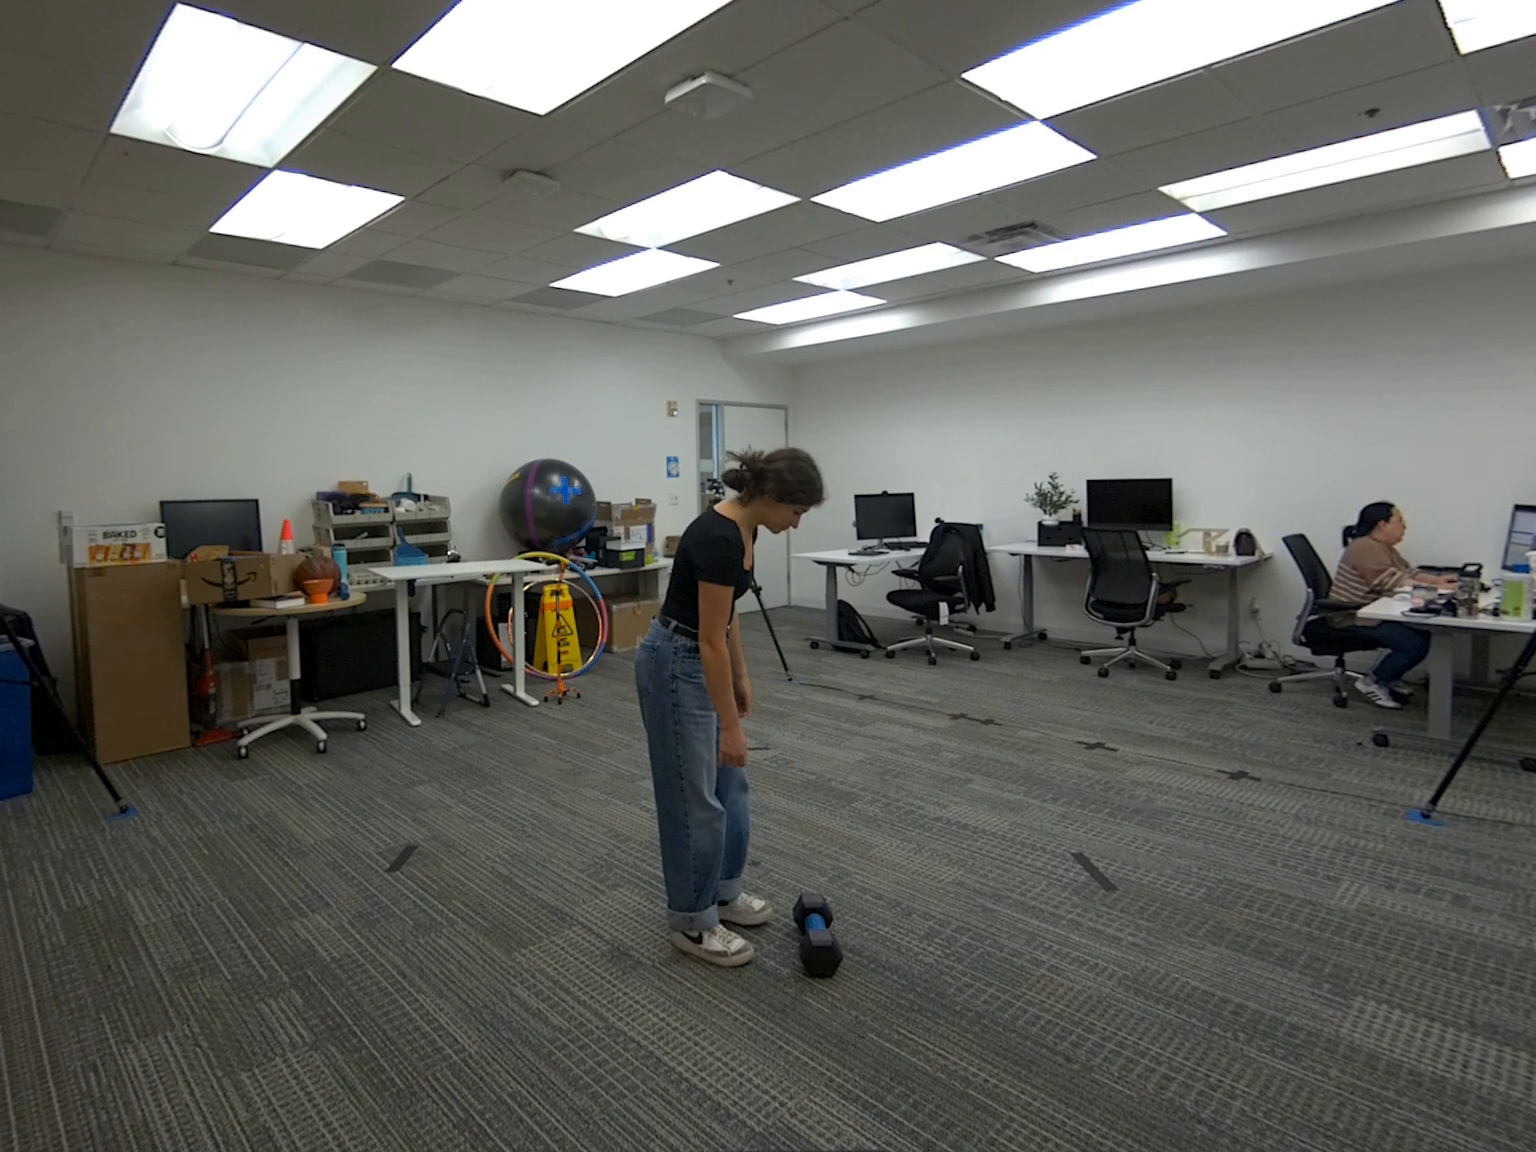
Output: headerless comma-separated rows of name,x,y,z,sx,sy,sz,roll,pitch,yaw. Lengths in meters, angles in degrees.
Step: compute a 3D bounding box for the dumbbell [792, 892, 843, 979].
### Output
dumbbell,0.145,1.050,2.523,0.109,0.122,0.295,-31,7,1
